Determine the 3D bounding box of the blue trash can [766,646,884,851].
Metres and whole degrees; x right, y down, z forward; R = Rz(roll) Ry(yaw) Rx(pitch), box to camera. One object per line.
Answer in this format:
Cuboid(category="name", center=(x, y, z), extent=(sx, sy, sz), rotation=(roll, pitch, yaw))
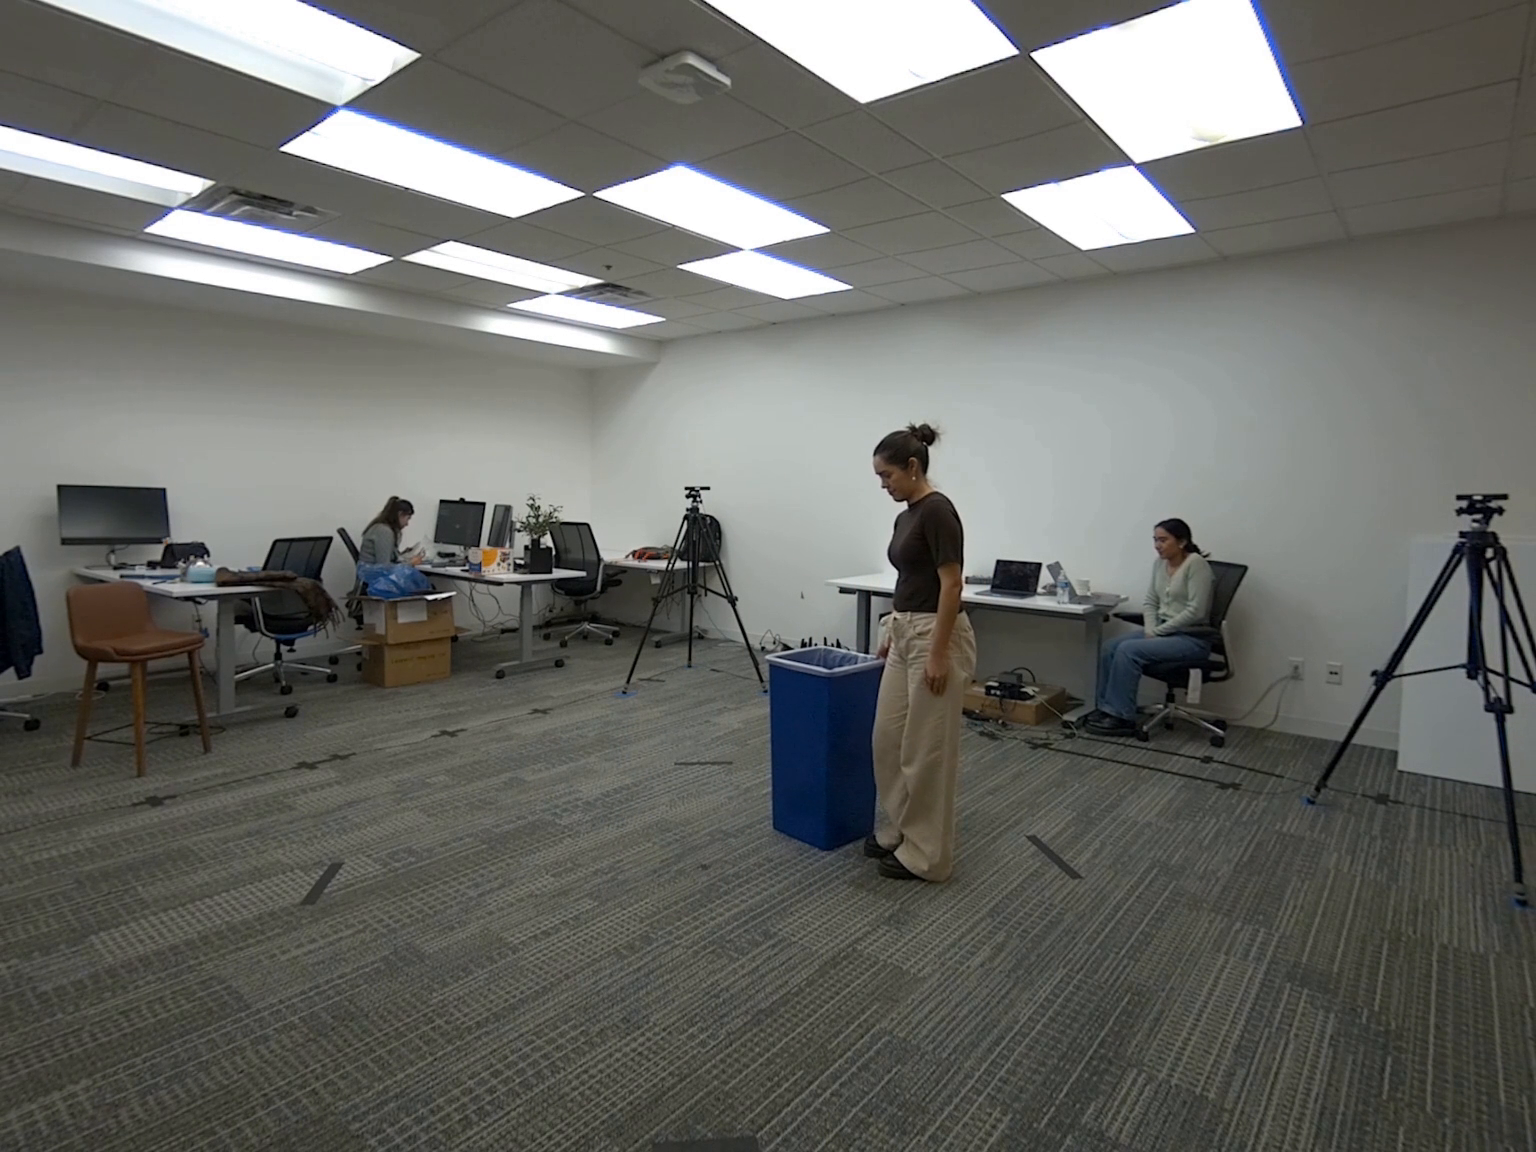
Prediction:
Cuboid(category="blue trash can", center=(0.215, 0.680, 3.458), extent=(0.367, 0.711, 0.387), rotation=(-3, 6, -43))
